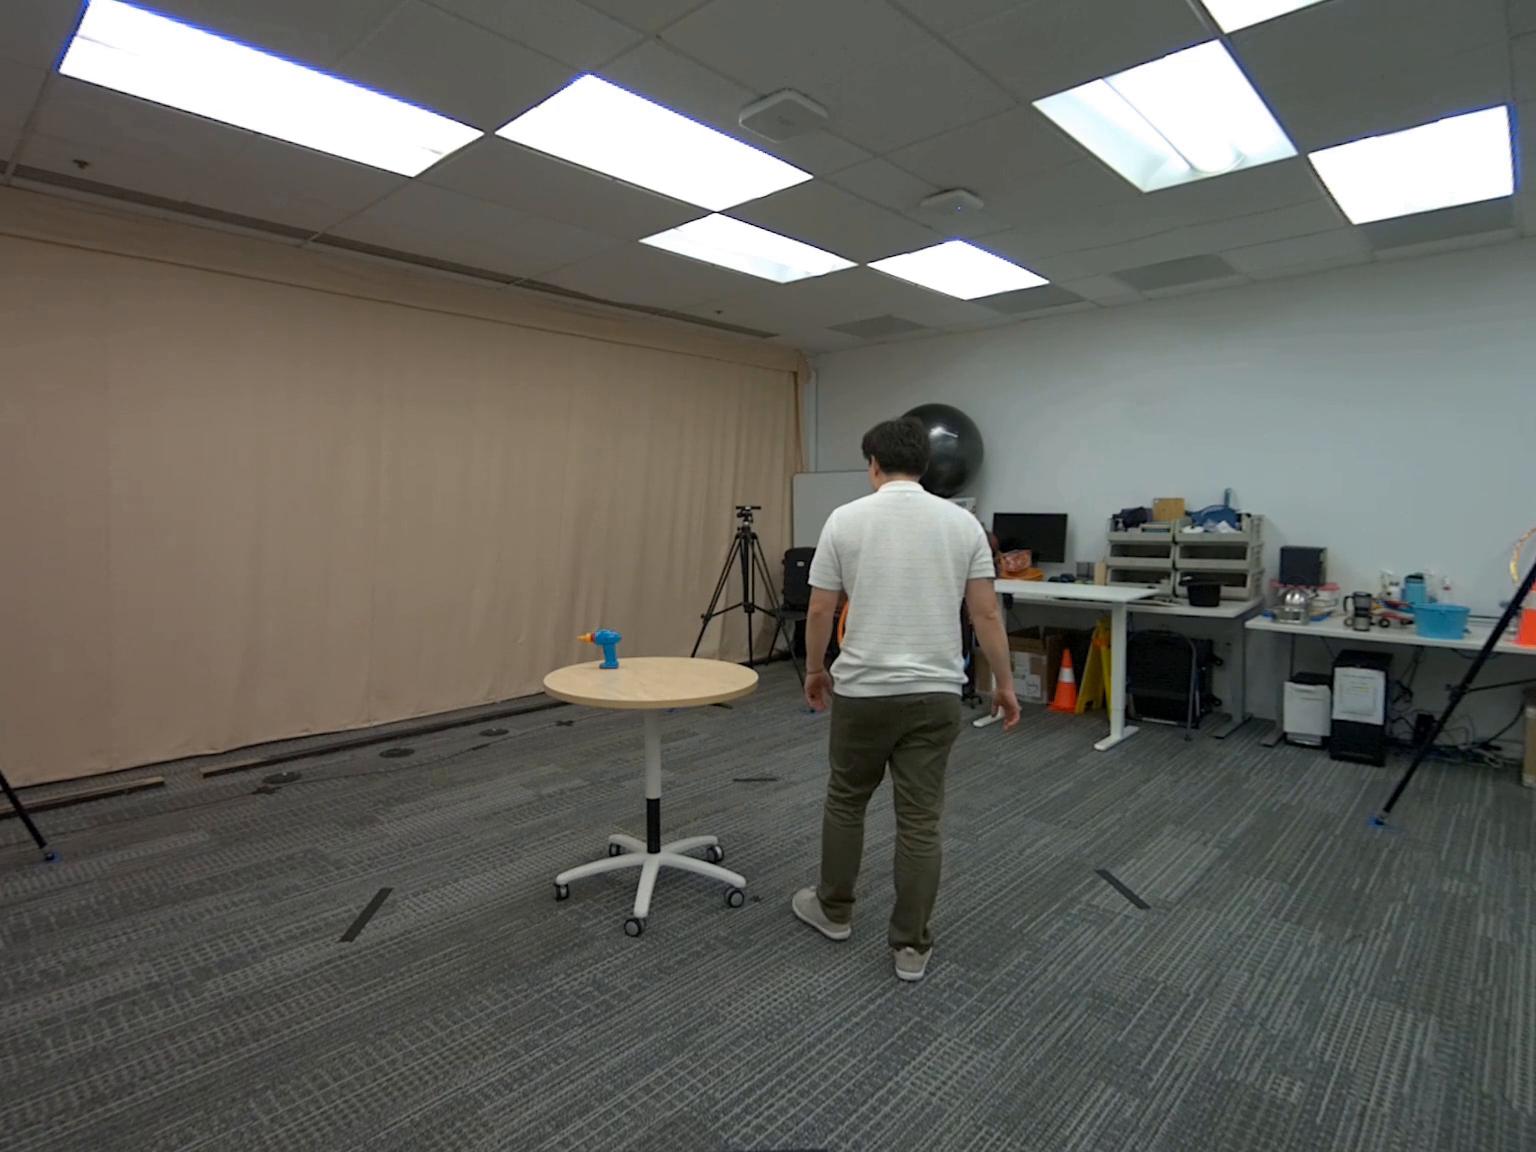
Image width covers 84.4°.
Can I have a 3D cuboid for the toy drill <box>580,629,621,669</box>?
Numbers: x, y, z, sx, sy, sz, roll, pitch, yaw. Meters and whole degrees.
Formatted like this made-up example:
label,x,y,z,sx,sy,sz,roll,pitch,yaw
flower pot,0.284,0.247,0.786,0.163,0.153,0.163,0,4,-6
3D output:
label,x,y,z,sx,sy,sz,roll,pitch,yaw
toy drill,-0.635,0.274,3.177,0.170,0.146,0.061,0,4,0
